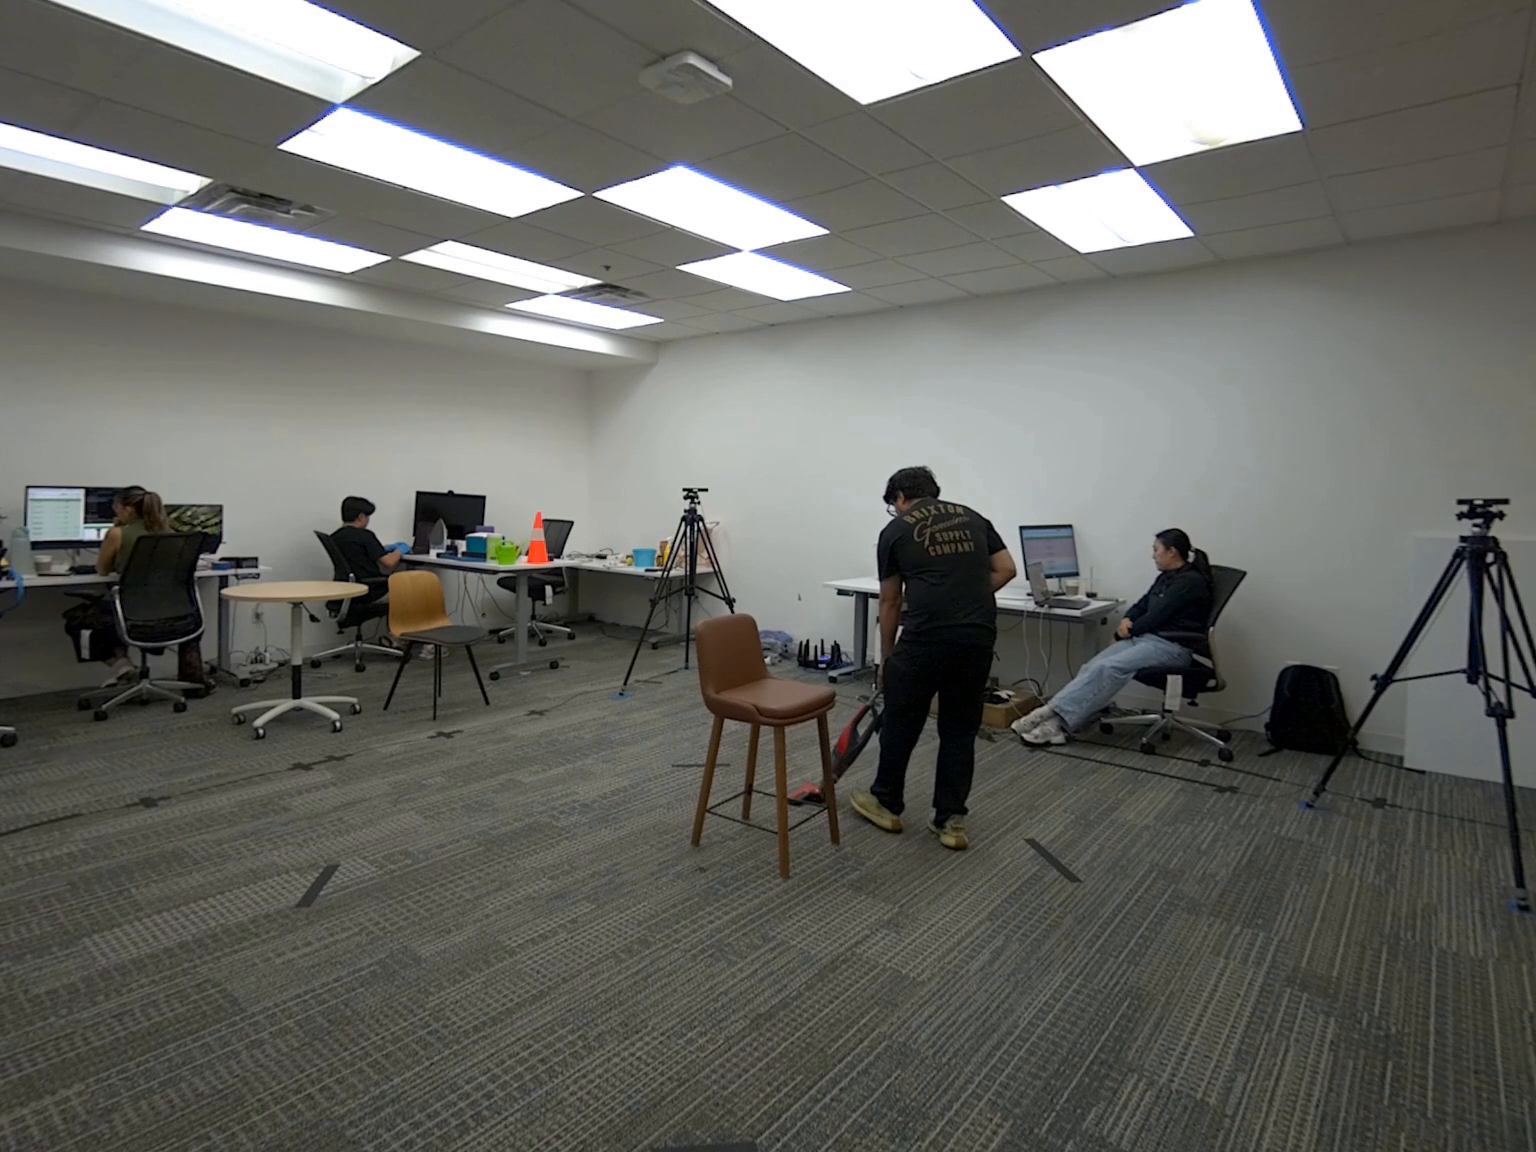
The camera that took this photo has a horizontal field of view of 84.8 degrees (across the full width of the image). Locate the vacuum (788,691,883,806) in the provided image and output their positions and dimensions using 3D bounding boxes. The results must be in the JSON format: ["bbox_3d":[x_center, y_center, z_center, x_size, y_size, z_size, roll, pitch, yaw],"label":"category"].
[{"bbox_3d":[0.446,0.583,3.721,0.148,1.045,0.247,38,16,17],"label":"vacuum"}]
